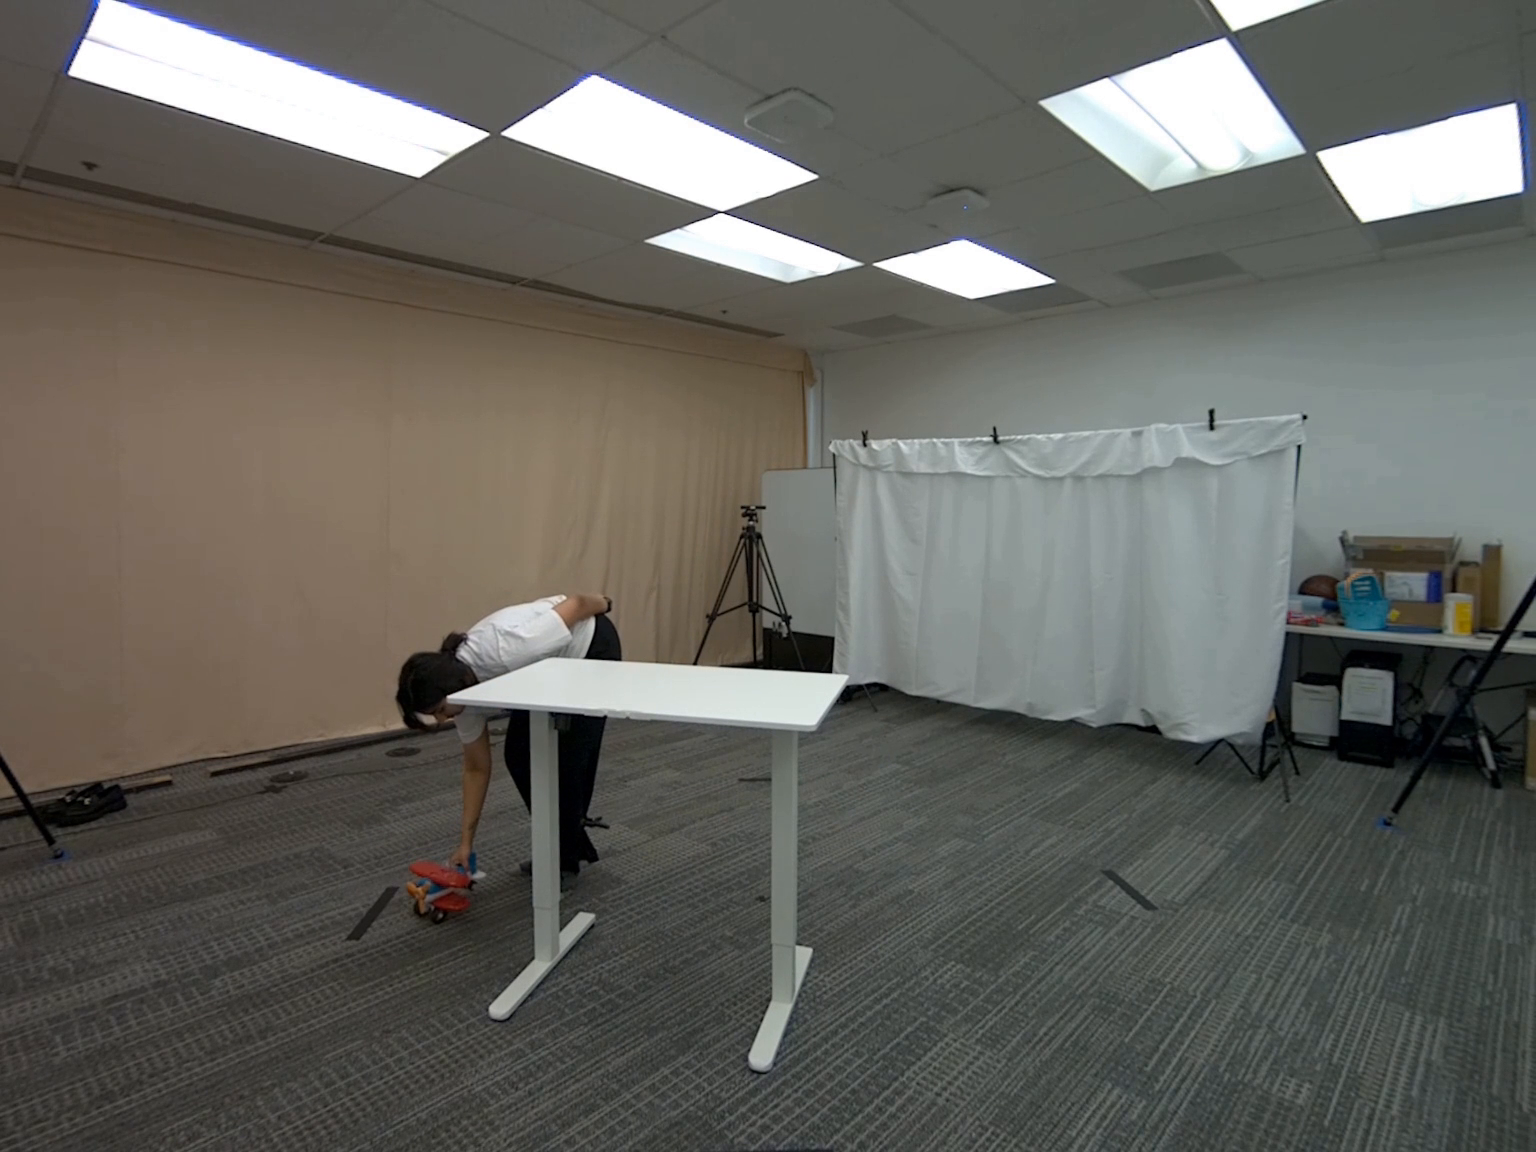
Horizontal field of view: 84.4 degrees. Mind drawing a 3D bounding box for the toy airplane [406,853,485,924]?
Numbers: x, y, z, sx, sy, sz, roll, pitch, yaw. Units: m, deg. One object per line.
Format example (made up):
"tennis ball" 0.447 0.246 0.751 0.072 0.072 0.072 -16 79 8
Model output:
"toy airplane" -1.133 1.072 2.911 0.252 0.155 0.261 -3 16 2
